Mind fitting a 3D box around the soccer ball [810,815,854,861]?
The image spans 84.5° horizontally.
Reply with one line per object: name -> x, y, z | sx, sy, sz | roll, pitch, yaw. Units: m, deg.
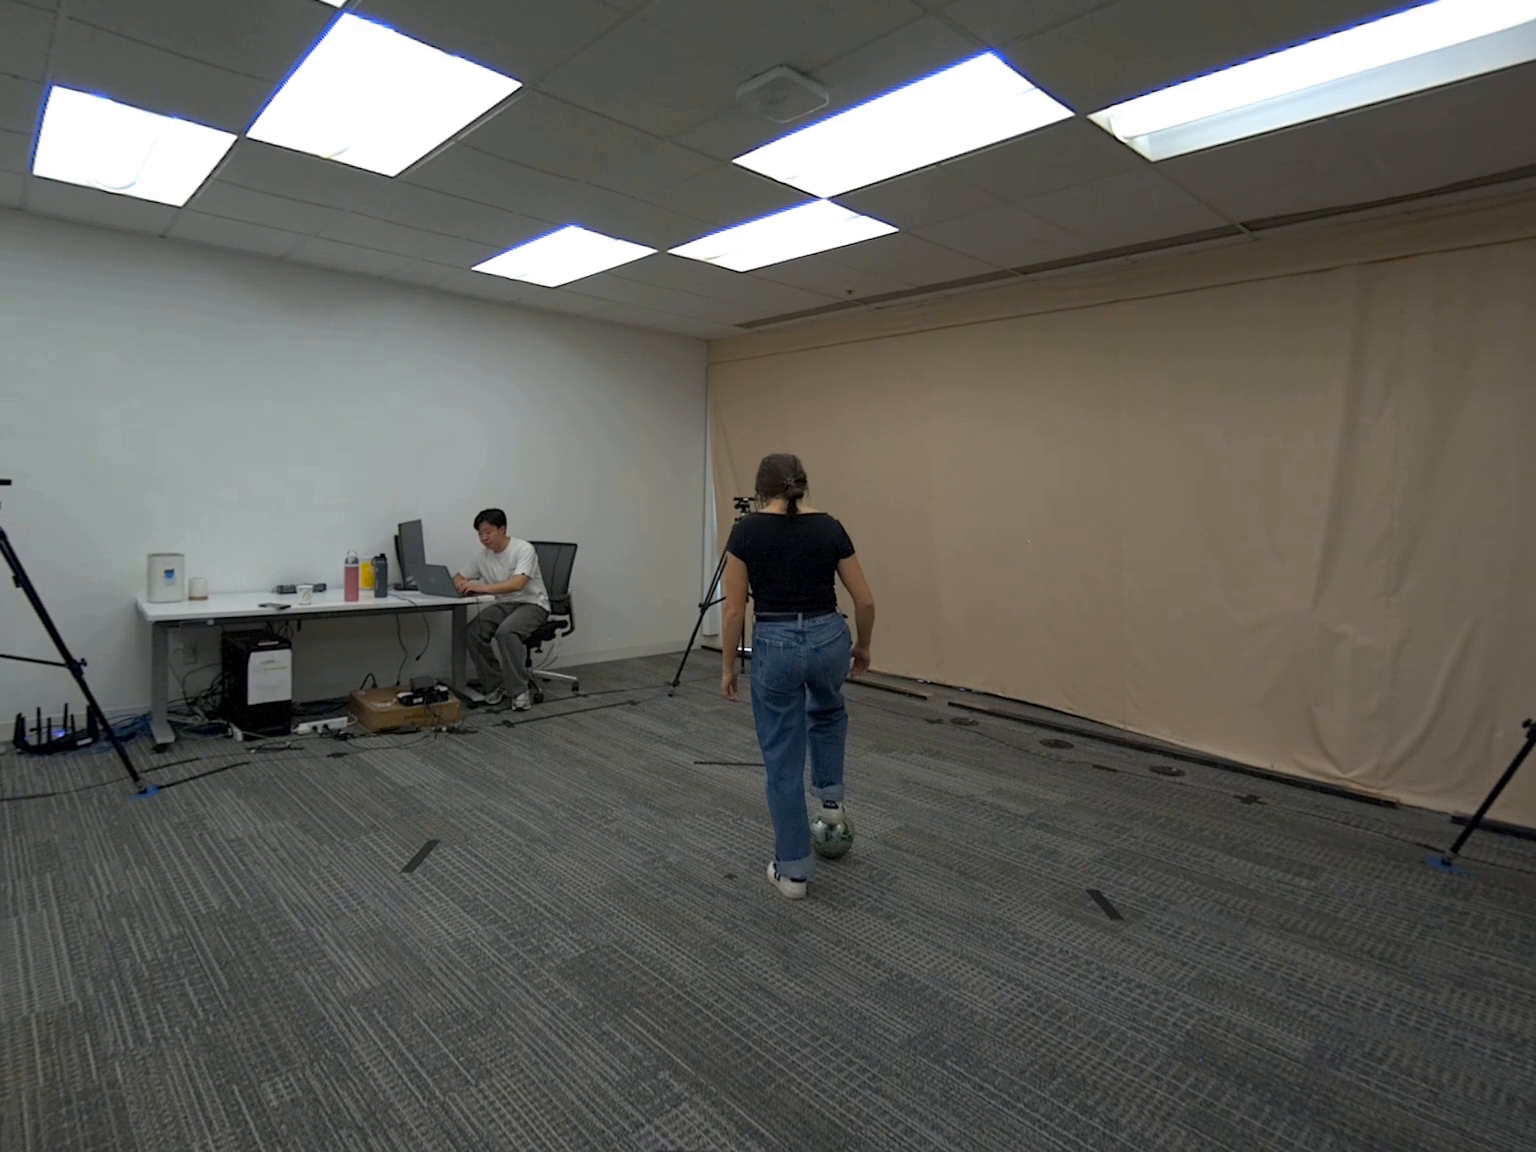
soccer ball -> 0.236, 1.010, 3.303 | 0.187, 0.187, 0.188 | 1, 4, -1
